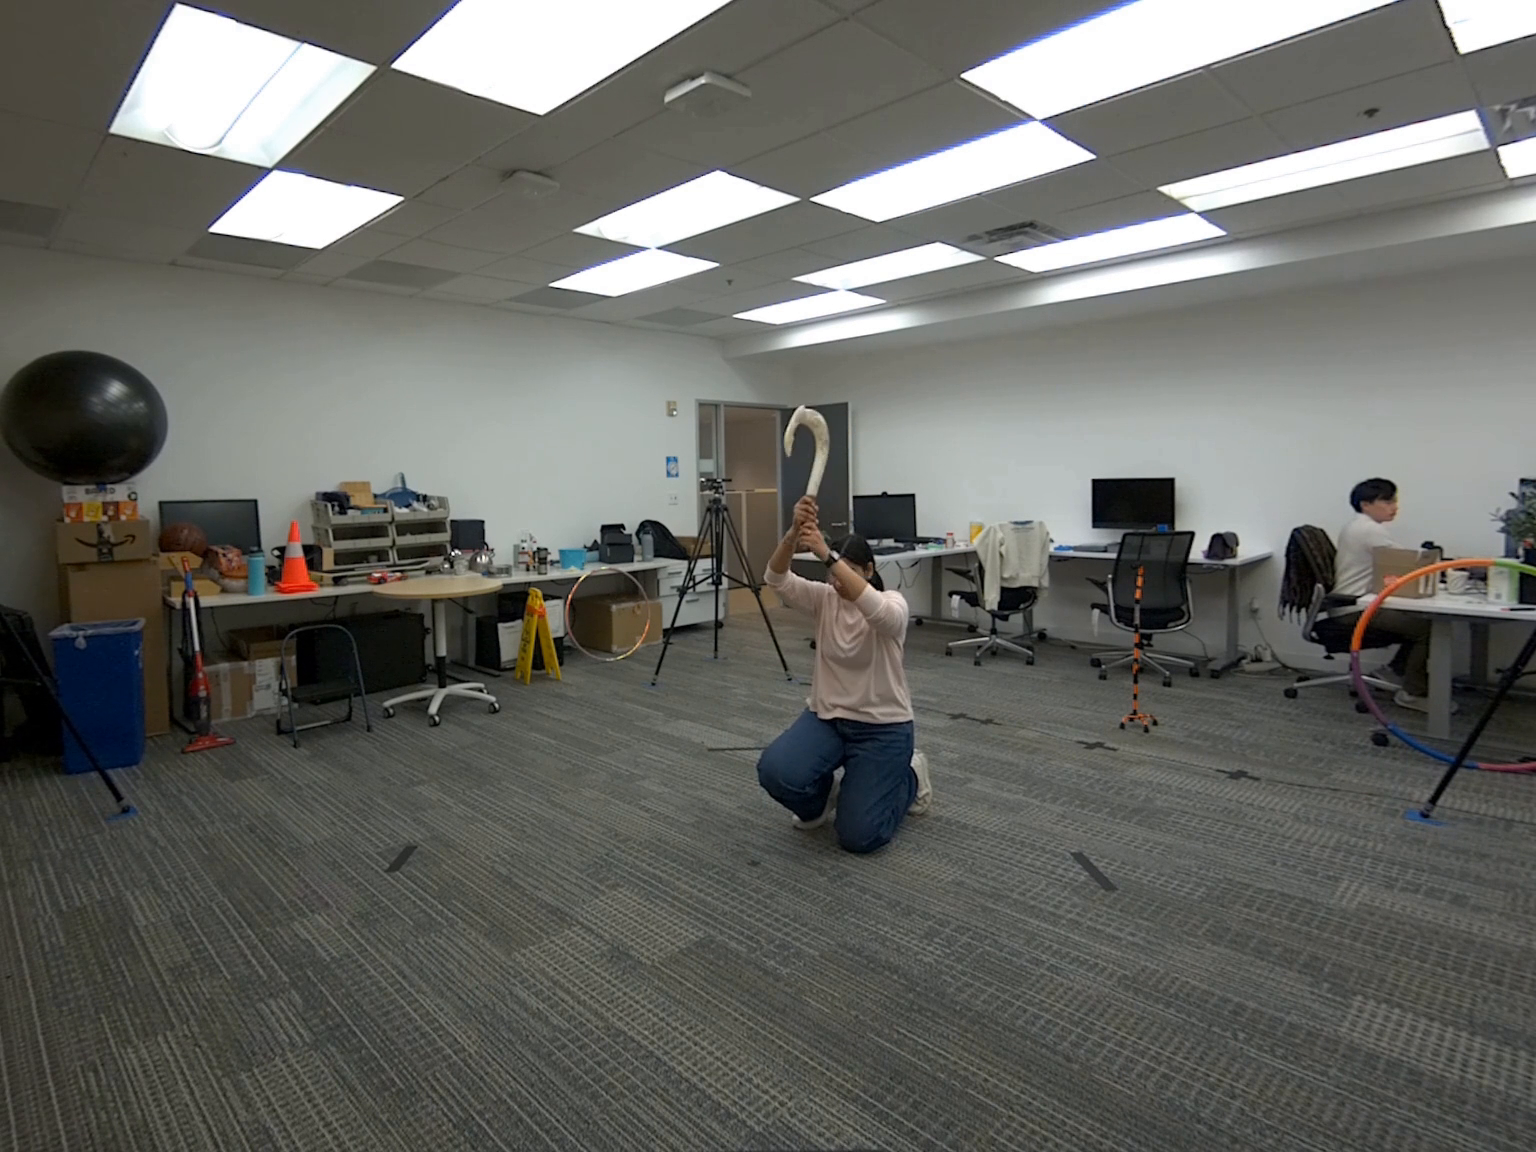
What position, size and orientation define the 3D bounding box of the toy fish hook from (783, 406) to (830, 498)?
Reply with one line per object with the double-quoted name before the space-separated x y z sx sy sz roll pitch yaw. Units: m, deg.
"toy fish hook" 0.134 -0.330 3.005 0.217 0.511 0.049 13 -13 -40
